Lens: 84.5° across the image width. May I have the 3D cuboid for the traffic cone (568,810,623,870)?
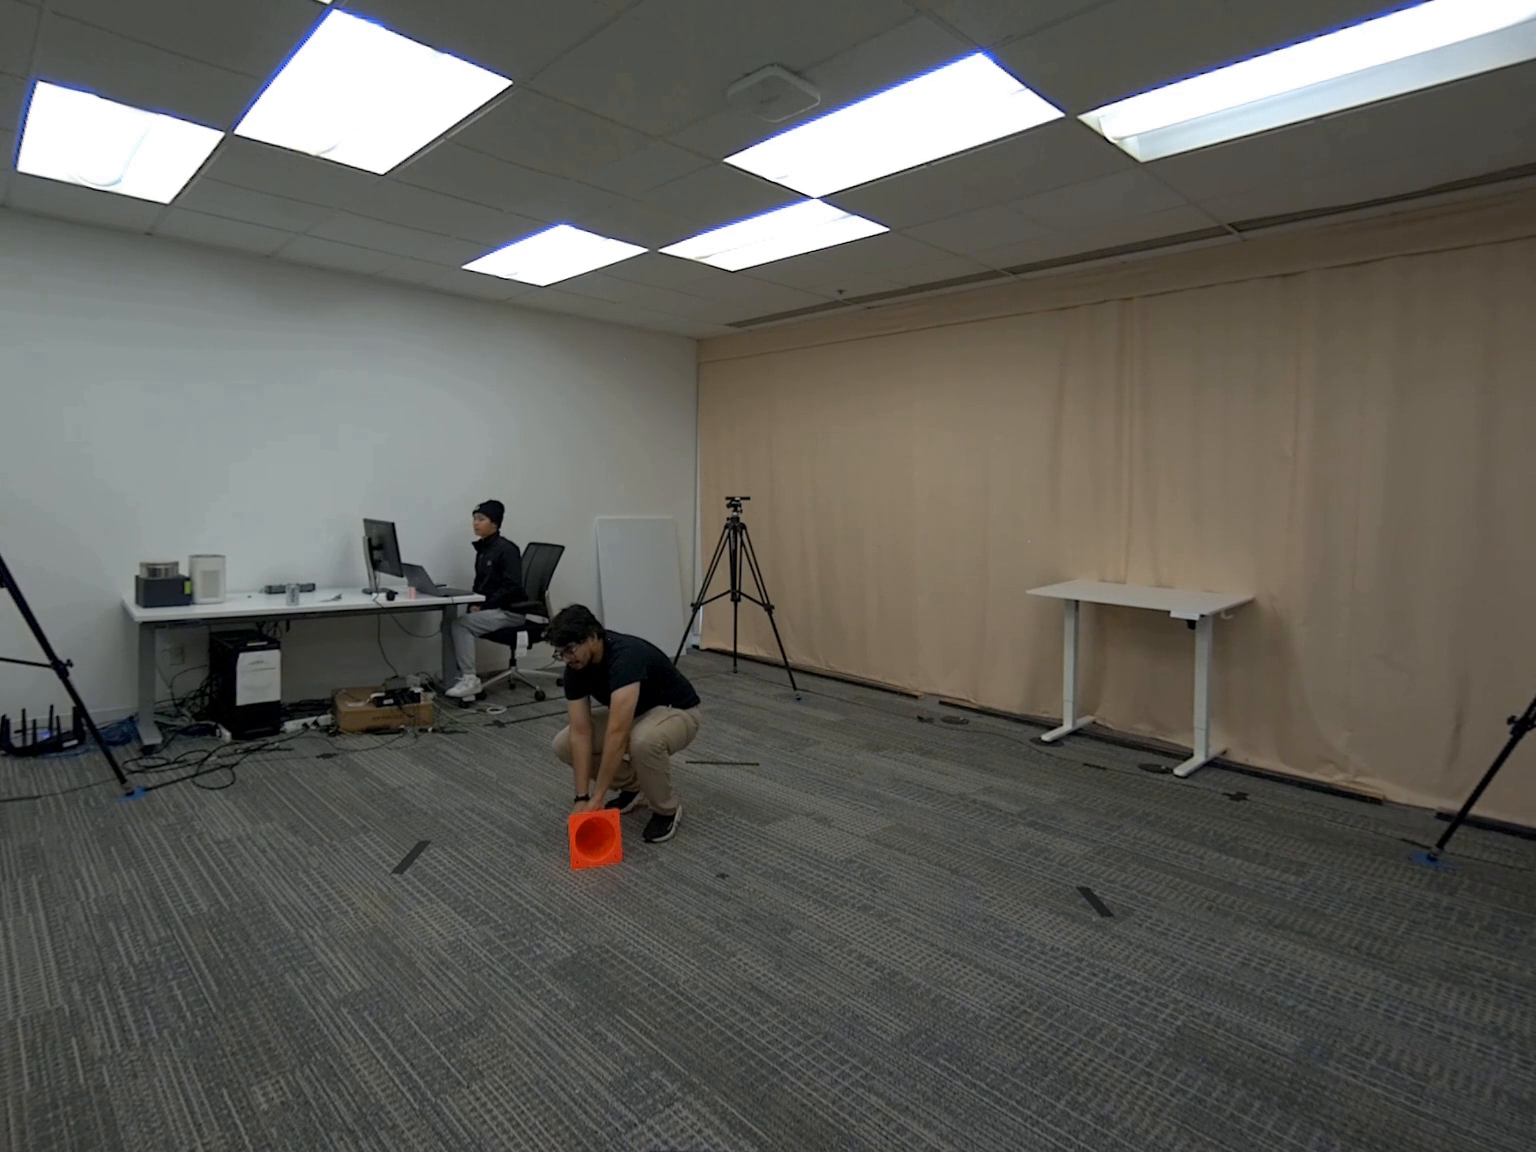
[{"bbox_3d":[-0.749,1.024,3.347,0.201,0.205,0.388,2,-9,-26],"label":"traffic cone"}]
